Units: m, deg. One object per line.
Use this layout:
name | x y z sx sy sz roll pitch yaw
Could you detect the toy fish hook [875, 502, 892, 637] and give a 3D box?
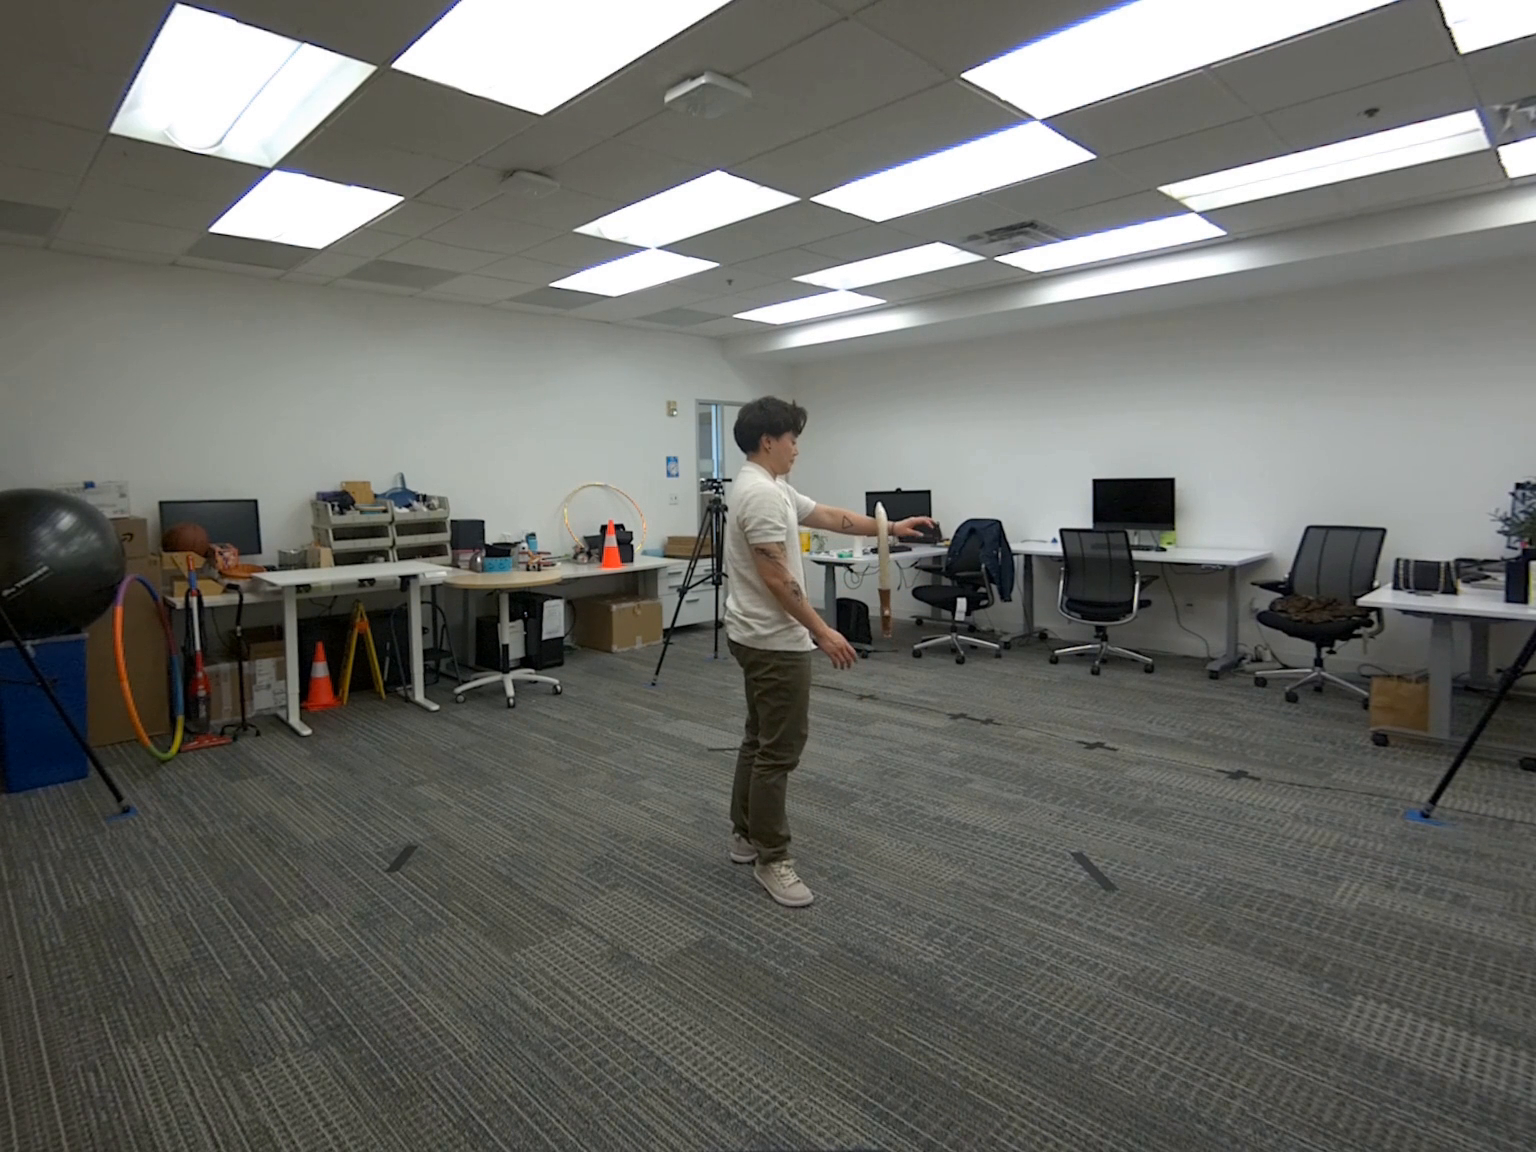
toy fish hook | 0.435 -0.016 3.225 0.049 0.500 0.225 -2 14 9
